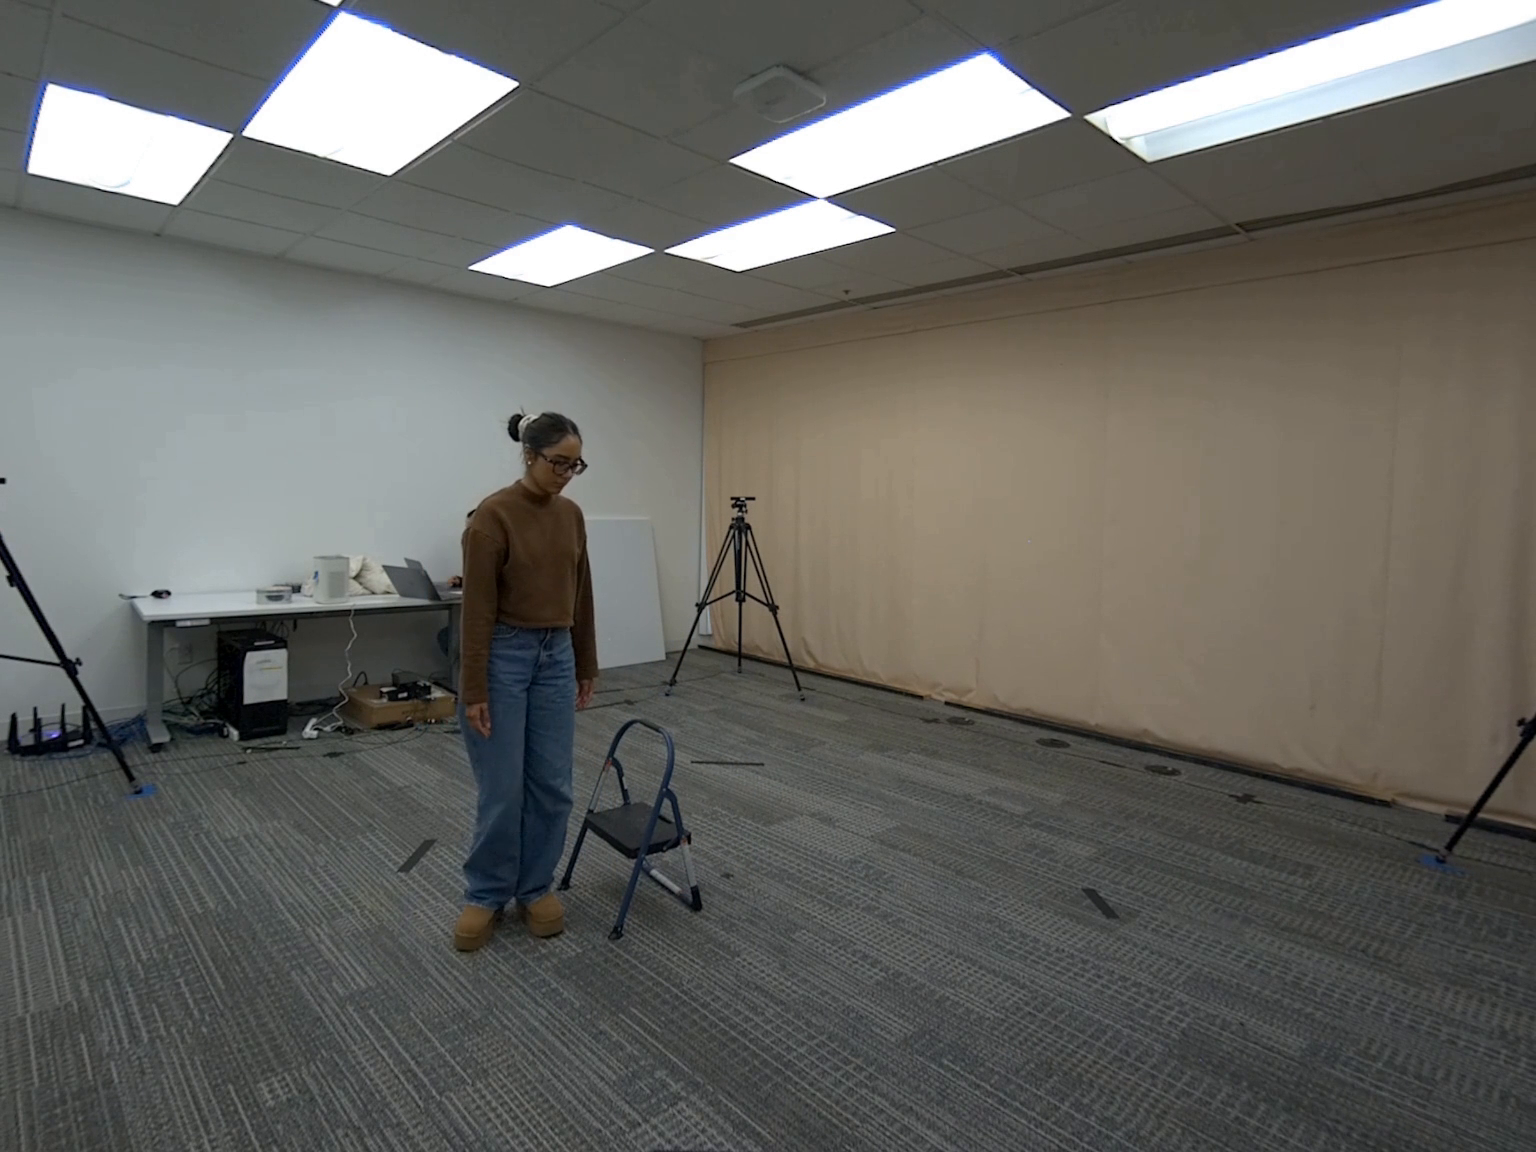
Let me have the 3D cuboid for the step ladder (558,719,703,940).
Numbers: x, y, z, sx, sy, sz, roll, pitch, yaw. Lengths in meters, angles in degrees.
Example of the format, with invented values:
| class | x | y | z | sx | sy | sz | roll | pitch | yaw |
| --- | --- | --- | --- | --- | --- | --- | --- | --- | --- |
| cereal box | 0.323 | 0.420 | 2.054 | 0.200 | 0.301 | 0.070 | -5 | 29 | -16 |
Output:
| class | x | y | z | sx | sy | sz | roll | pitch | yaw |
| --- | --- | --- | --- | --- | --- | --- | --- | --- | --- |
| step ladder | -0.478 | 0.817 | 2.887 | 0.341 | 0.605 | 0.441 | -1 | 4 | -37 |
